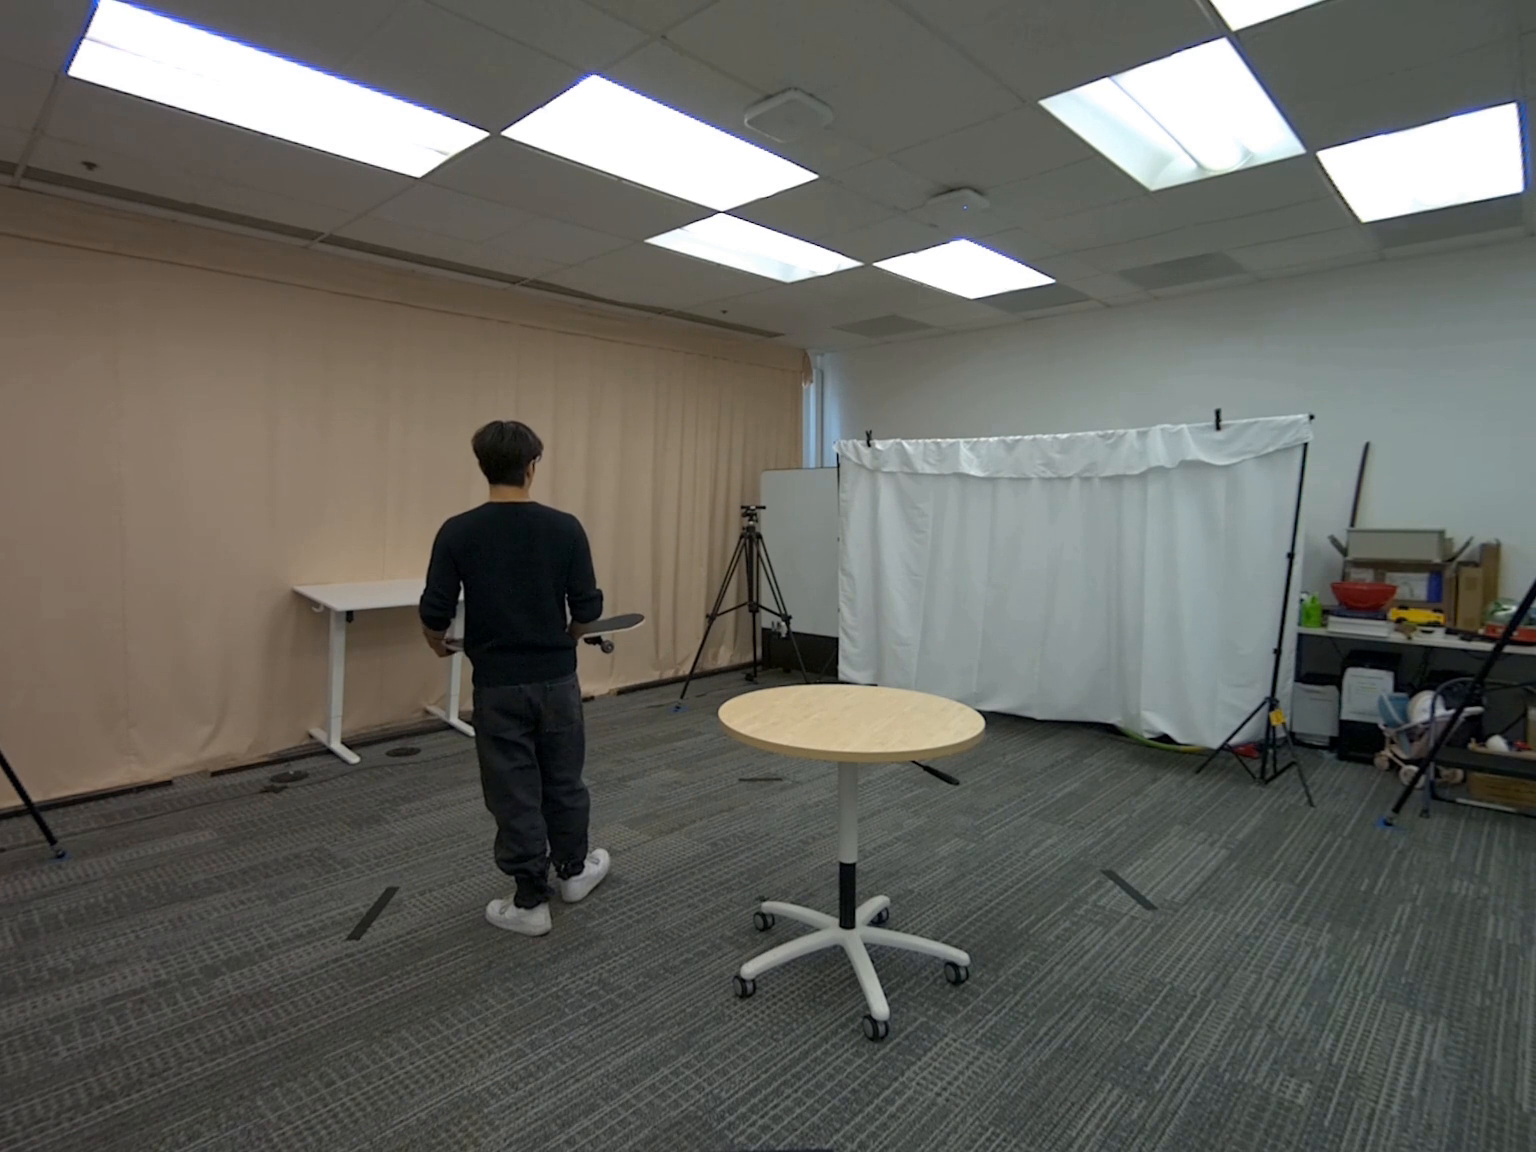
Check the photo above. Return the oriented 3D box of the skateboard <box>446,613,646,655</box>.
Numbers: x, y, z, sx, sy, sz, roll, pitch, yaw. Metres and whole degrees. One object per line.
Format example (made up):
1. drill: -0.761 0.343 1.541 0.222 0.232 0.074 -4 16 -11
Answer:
1. skateboard: -0.818 0.257 3.139 0.764 0.109 0.200 -7 13 -33
